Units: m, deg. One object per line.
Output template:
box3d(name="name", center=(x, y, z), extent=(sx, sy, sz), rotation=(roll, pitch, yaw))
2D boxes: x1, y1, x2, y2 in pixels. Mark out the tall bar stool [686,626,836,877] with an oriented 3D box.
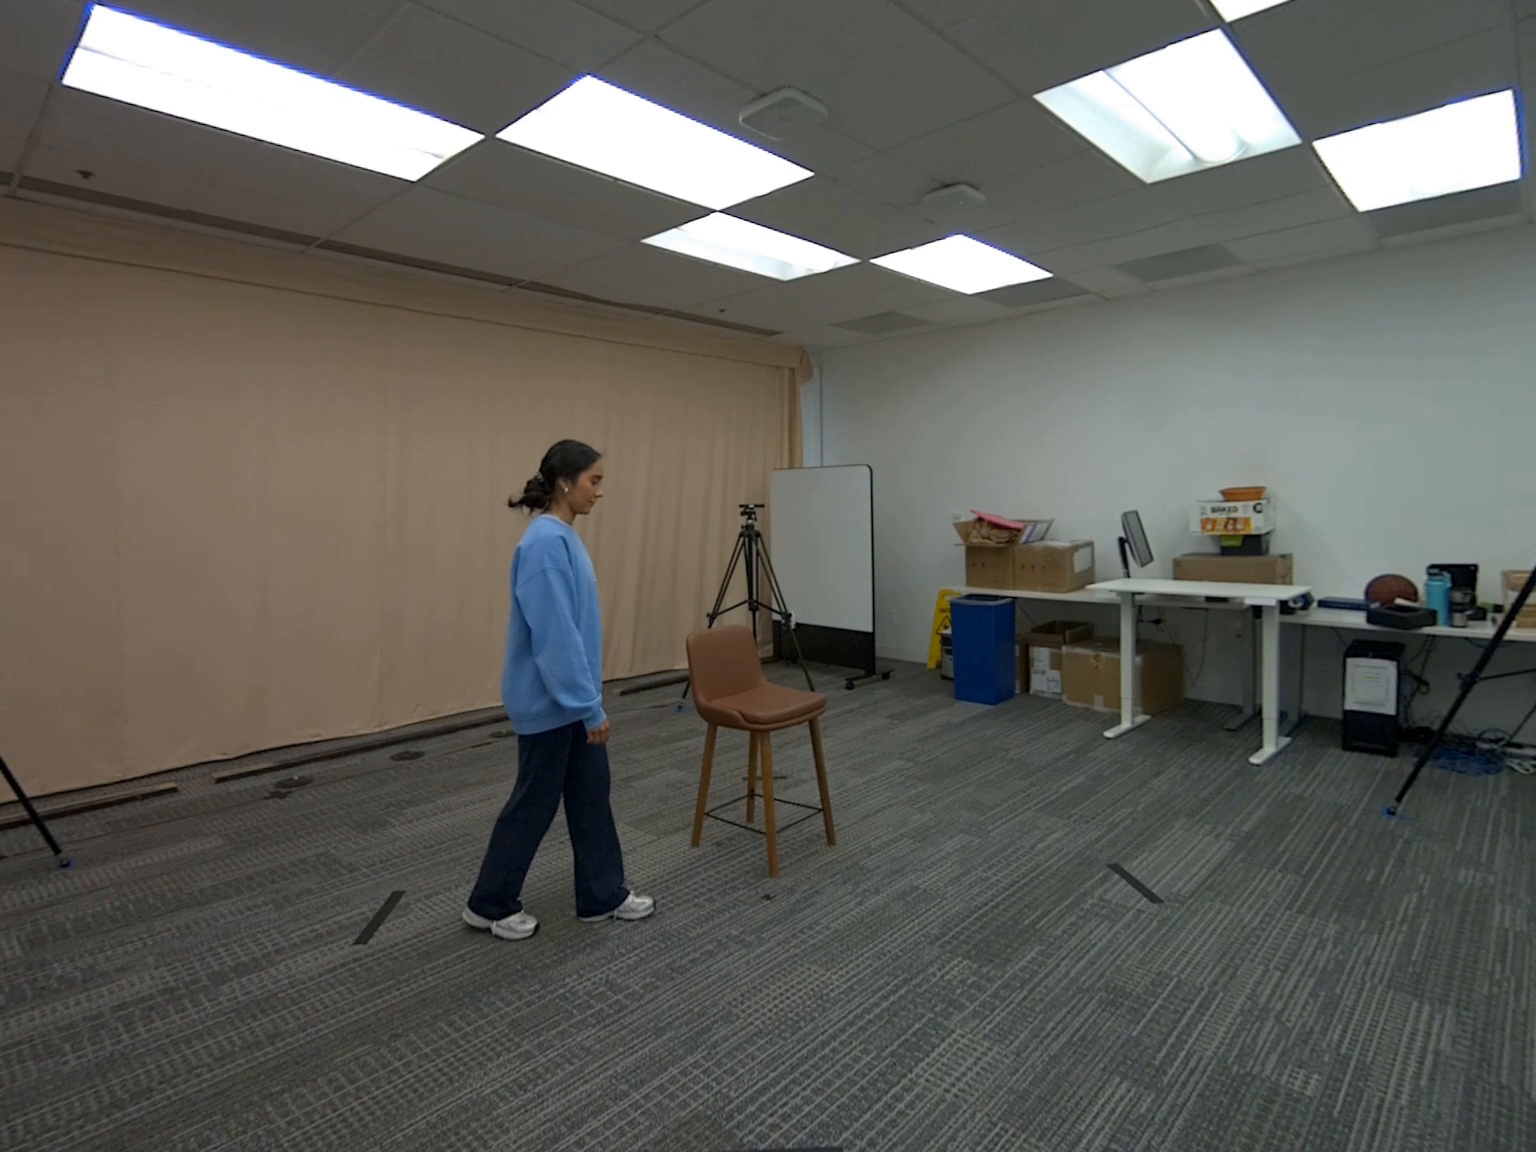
box3d(name="tall bar stool", center=(-0.035, 0.666, 3.419), extent=(0.482, 0.889, 0.443), rotation=(-1, 2, 41))
